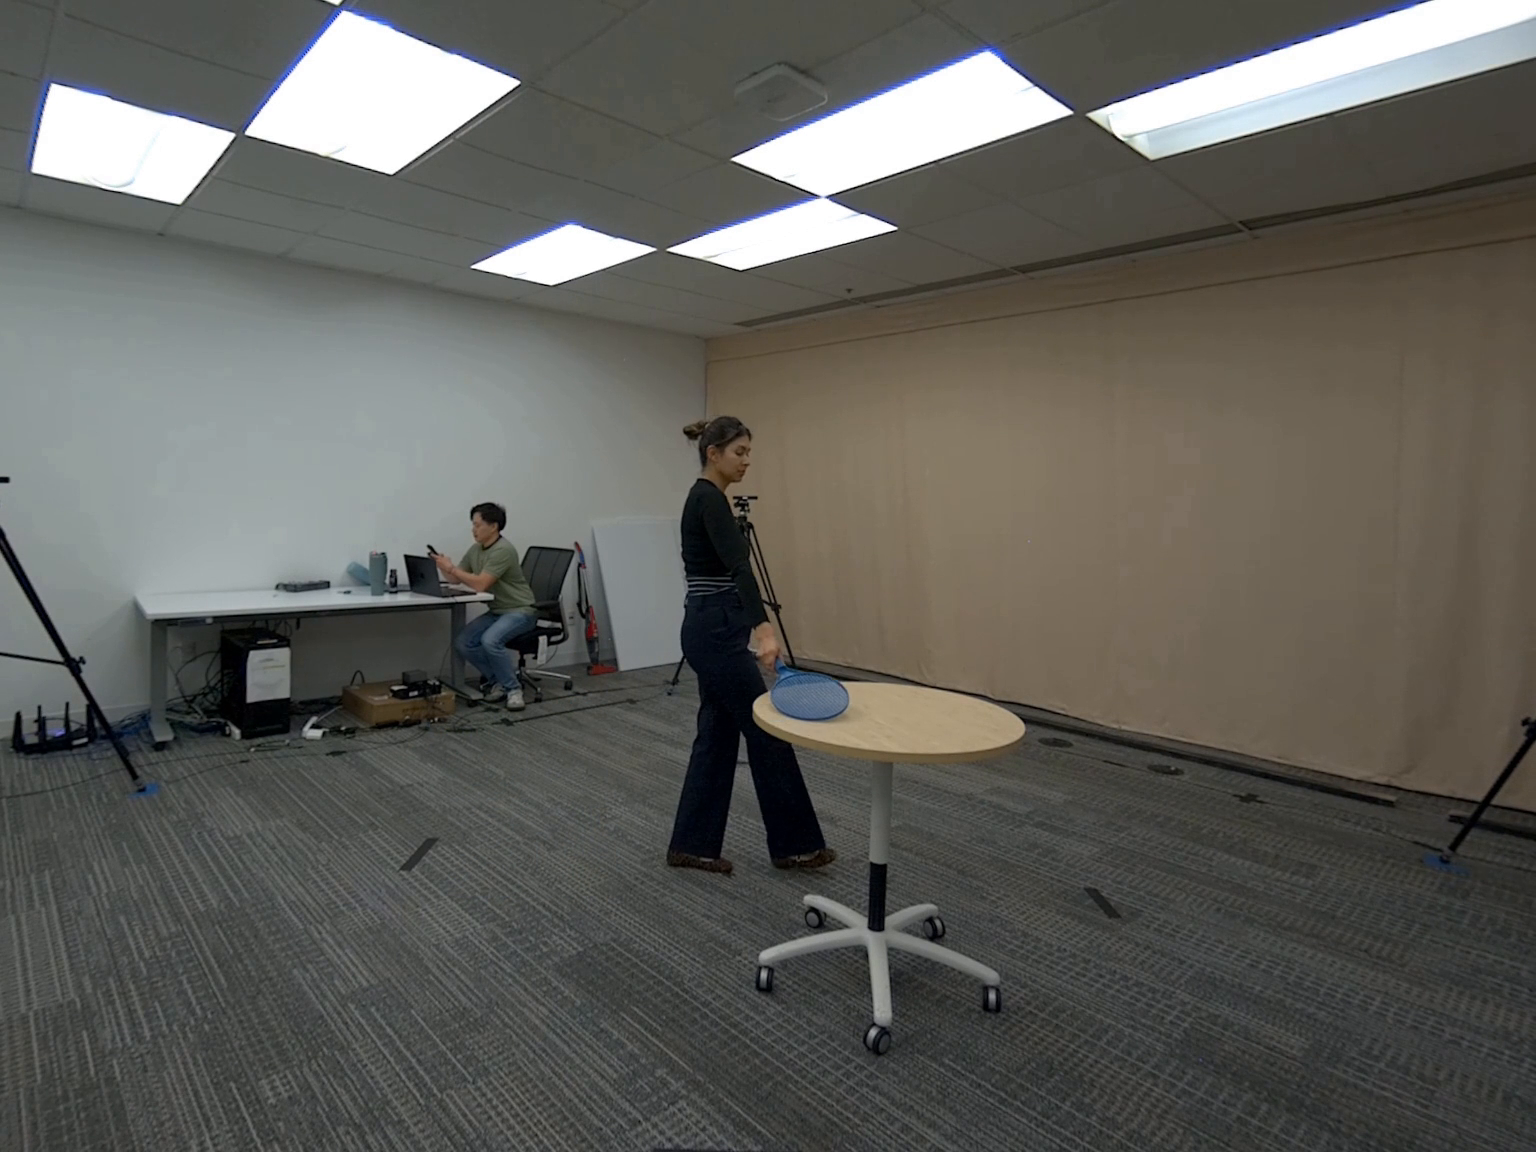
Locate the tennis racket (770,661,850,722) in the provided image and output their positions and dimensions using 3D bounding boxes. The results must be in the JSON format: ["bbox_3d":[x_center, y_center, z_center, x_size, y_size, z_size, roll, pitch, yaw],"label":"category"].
[{"bbox_3d":[0.093,0.324,2.475,0.212,0.031,0.444,-13,22,-15],"label":"tennis racket"}]
